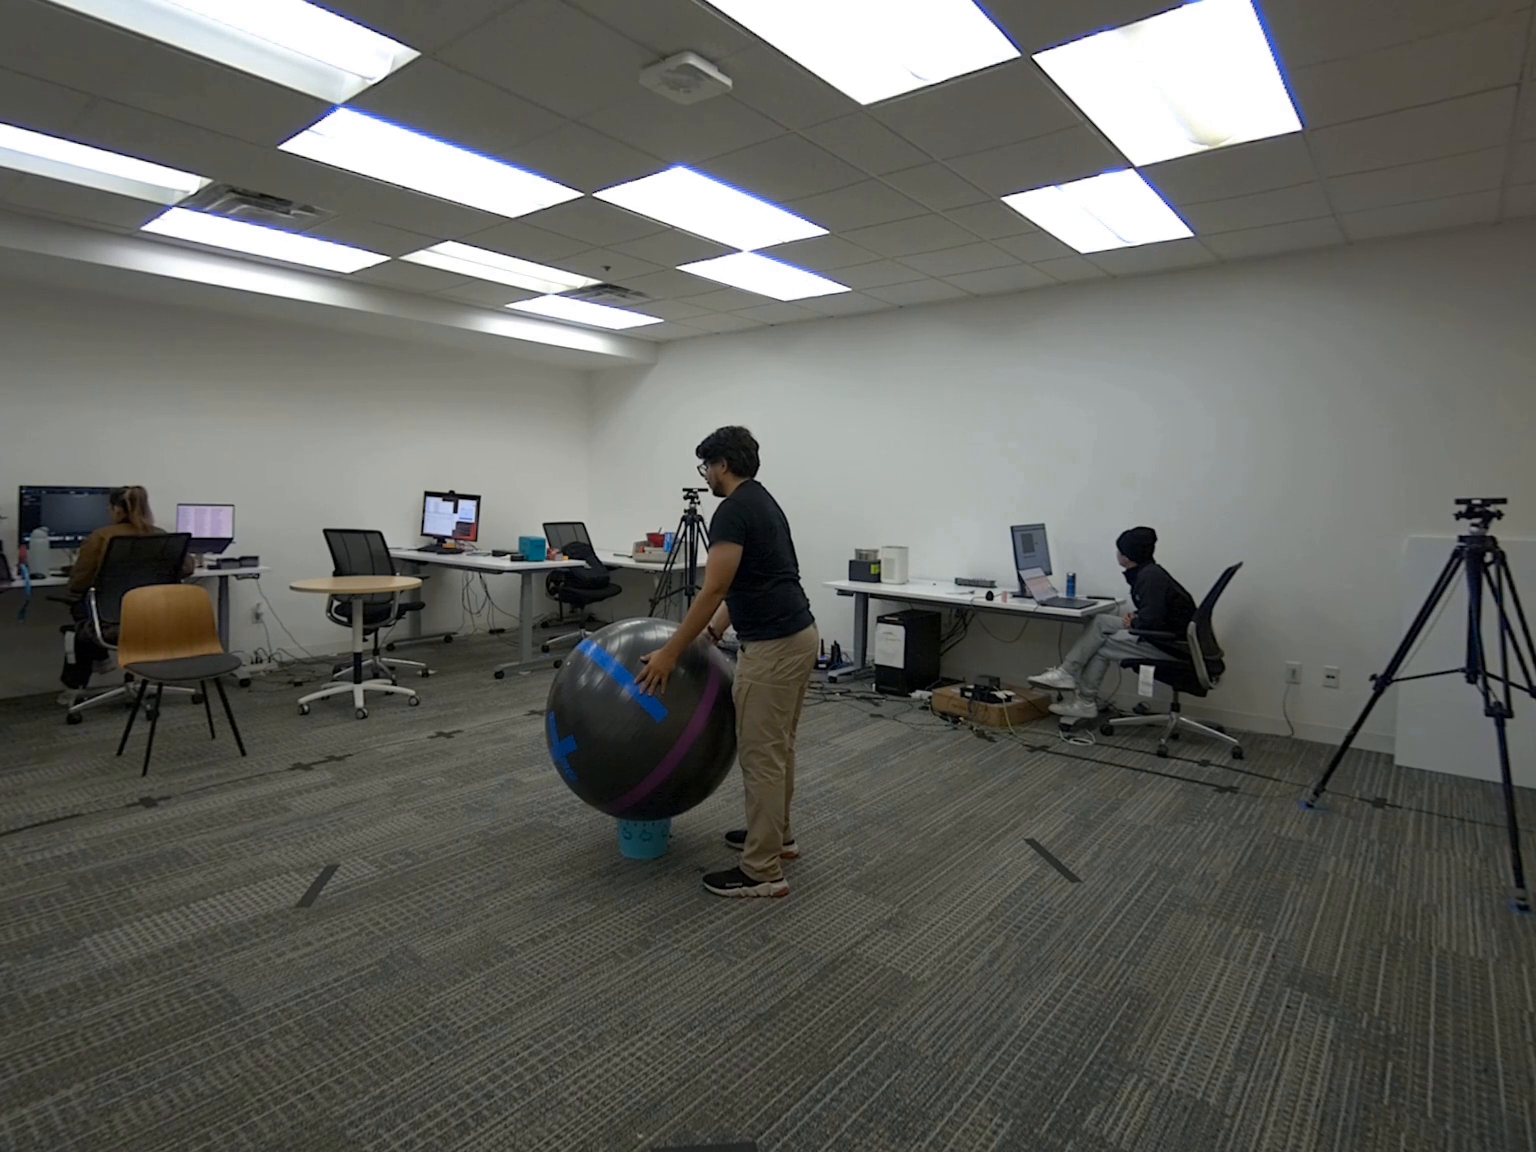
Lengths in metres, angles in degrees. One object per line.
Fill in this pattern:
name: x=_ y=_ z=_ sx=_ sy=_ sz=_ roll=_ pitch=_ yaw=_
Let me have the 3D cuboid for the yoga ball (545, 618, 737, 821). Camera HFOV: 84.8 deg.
yoga ball: x=-0.495 y=0.545 z=3.263 sx=0.757 sy=0.756 sz=0.761 roll=1 pitch=4 yaw=-2
